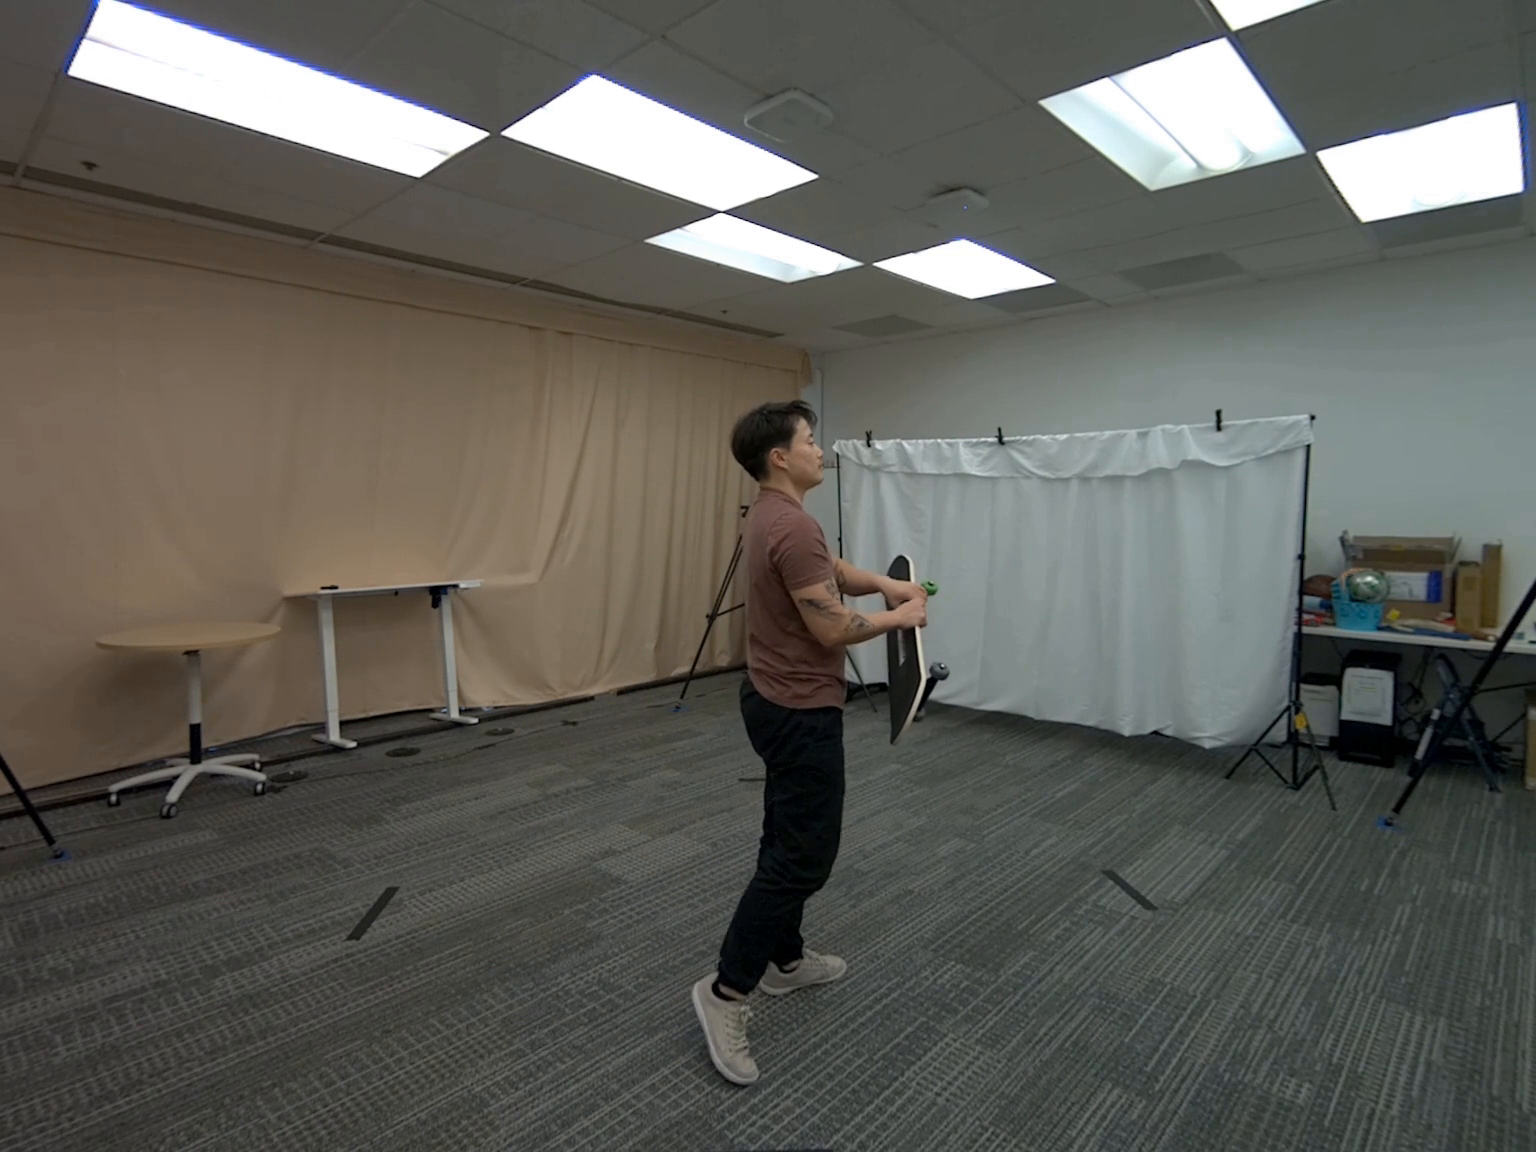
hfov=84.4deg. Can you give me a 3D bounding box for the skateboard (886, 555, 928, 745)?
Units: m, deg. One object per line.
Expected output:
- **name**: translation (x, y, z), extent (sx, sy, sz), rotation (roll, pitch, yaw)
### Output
- **skateboard**: translation (0.418, 0.201, 2.353), extent (0.110, 0.192, 0.793), rotation (18, 34, -4)
